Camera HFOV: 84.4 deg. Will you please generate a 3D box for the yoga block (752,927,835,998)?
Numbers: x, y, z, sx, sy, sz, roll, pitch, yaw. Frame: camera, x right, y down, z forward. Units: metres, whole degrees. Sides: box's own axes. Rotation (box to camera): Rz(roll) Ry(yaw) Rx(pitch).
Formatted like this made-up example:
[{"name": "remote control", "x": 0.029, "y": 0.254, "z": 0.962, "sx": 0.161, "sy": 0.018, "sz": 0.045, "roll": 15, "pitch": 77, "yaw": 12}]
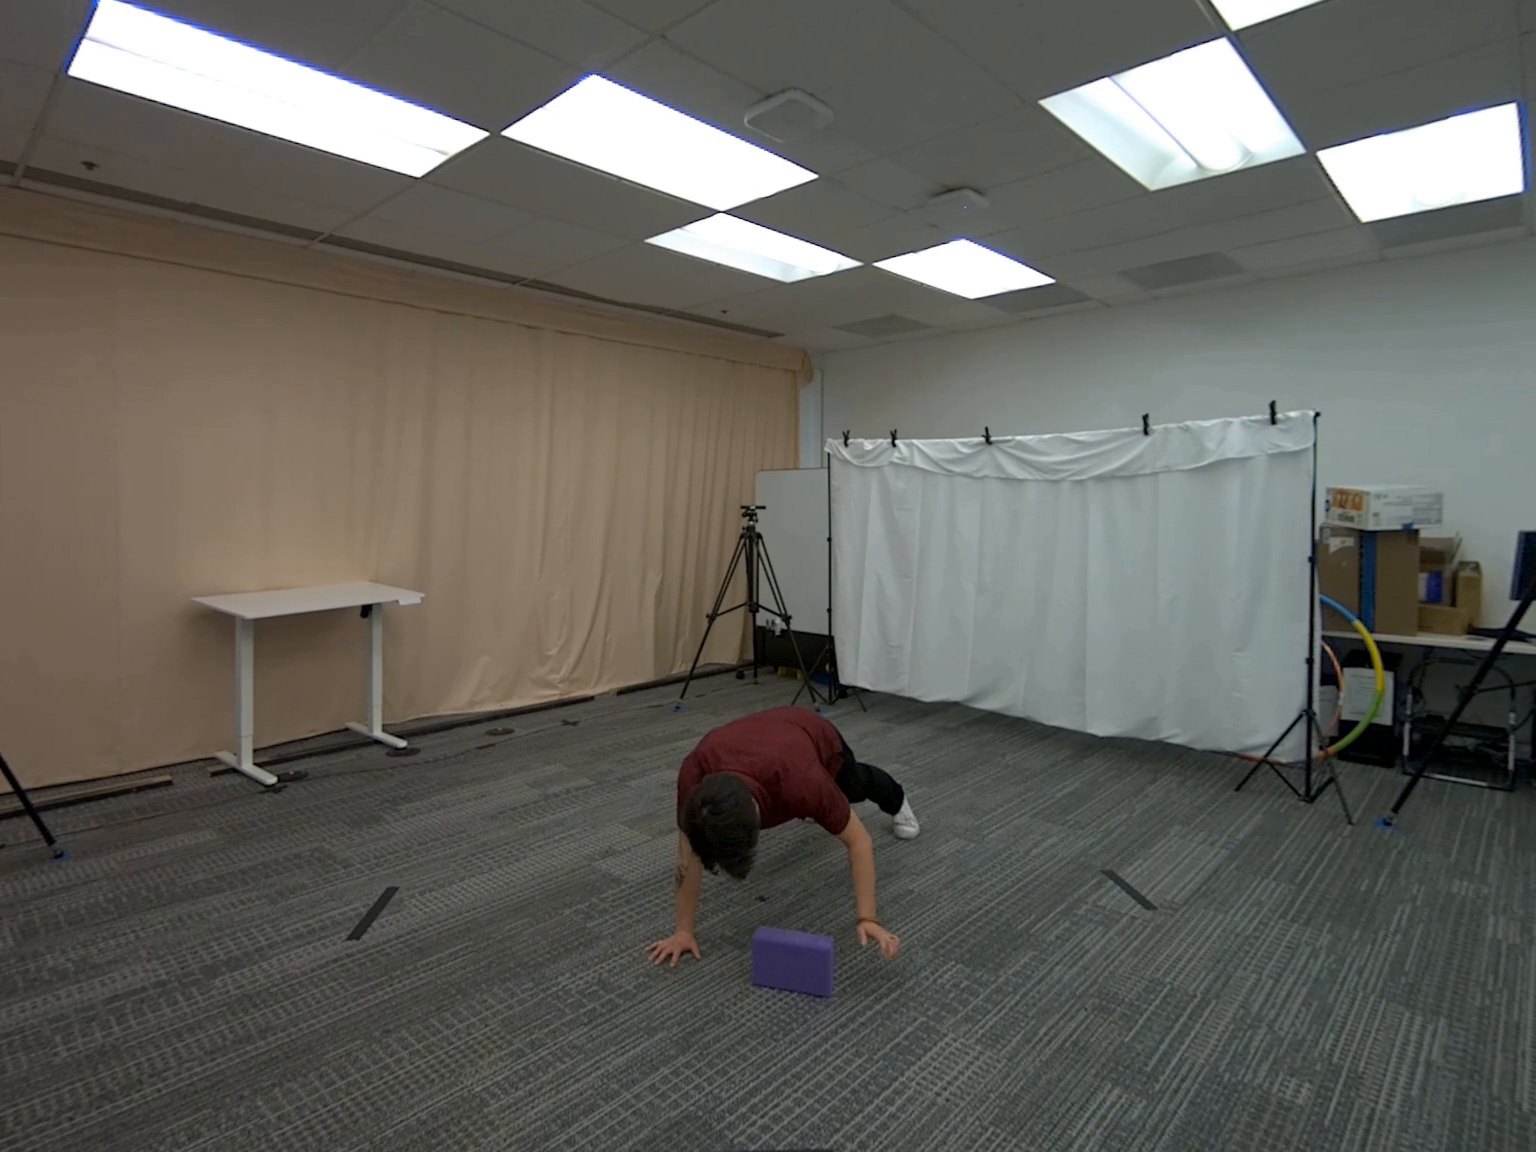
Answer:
[{"name": "yoga block", "x": 0.073, "y": 1.106, "z": 2.444, "sx": 0.234, "sy": 0.148, "sz": 0.075, "roll": 2, "pitch": 5, "yaw": 18}]
